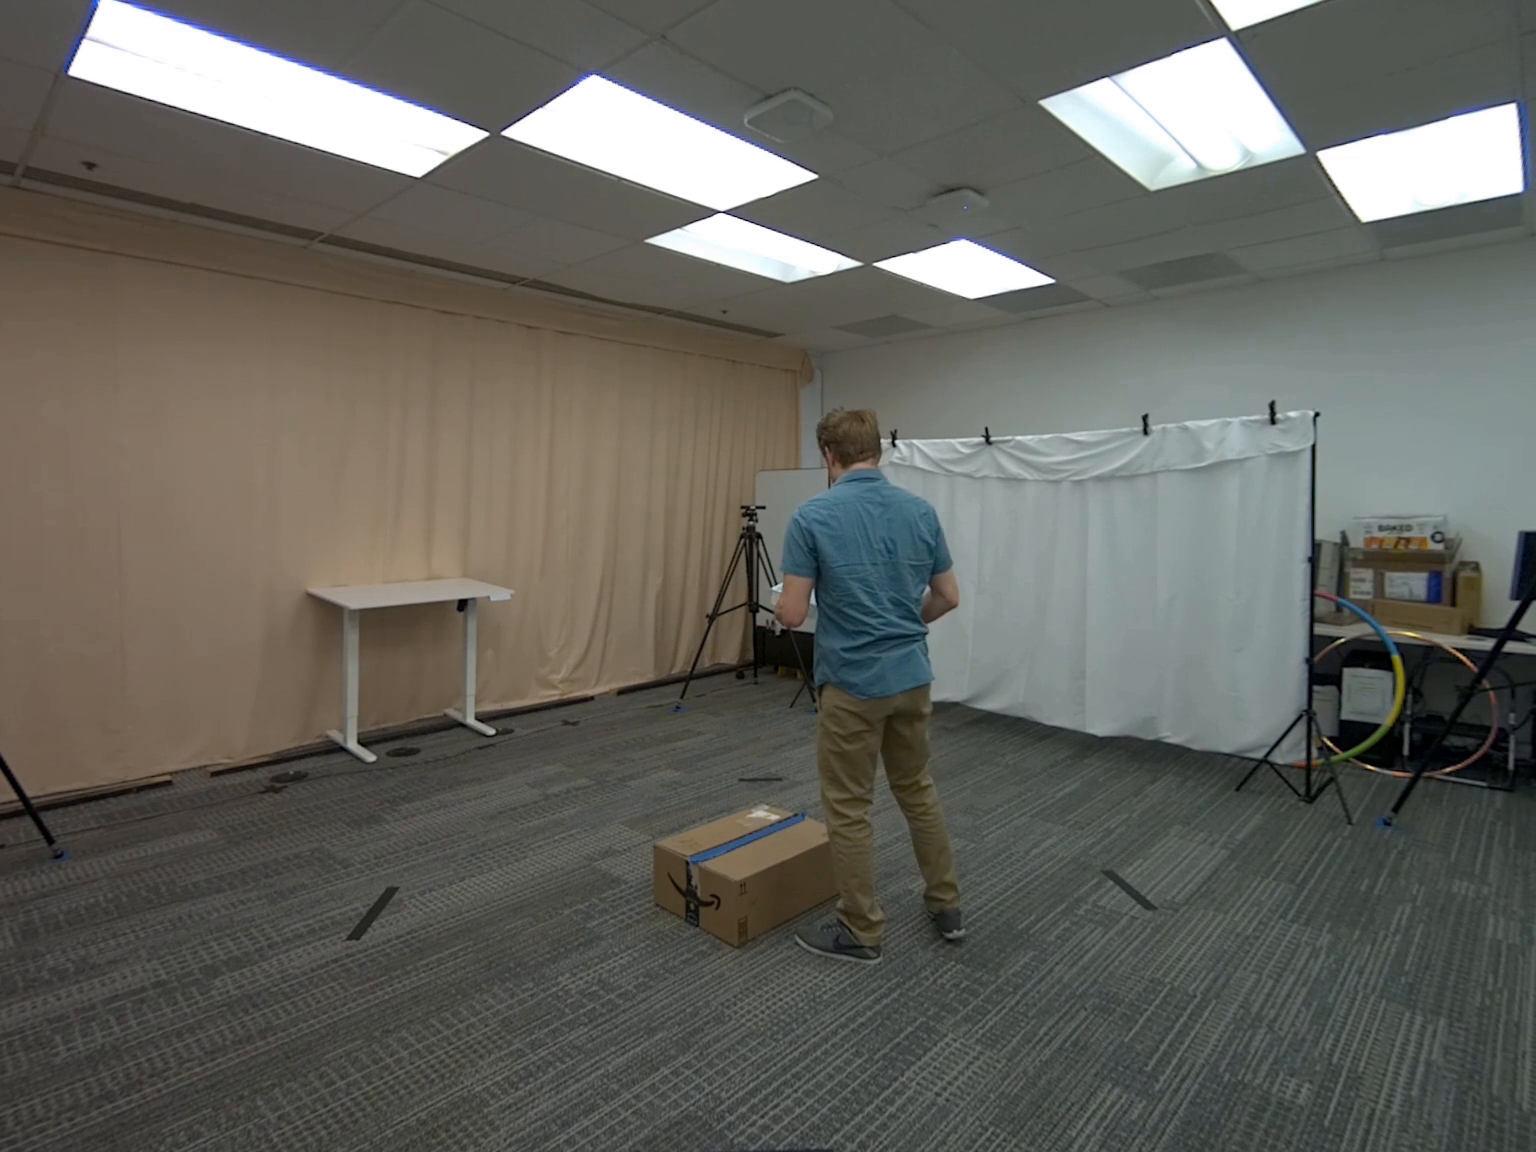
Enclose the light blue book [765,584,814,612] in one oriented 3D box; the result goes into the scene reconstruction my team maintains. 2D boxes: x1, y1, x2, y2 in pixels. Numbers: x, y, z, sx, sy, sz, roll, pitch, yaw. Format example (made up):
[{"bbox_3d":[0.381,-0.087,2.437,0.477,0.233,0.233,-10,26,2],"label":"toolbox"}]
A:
[{"bbox_3d":[0.171,0.052,2.899,0.197,0.058,0.256,18,27,28],"label":"light blue book"}]
